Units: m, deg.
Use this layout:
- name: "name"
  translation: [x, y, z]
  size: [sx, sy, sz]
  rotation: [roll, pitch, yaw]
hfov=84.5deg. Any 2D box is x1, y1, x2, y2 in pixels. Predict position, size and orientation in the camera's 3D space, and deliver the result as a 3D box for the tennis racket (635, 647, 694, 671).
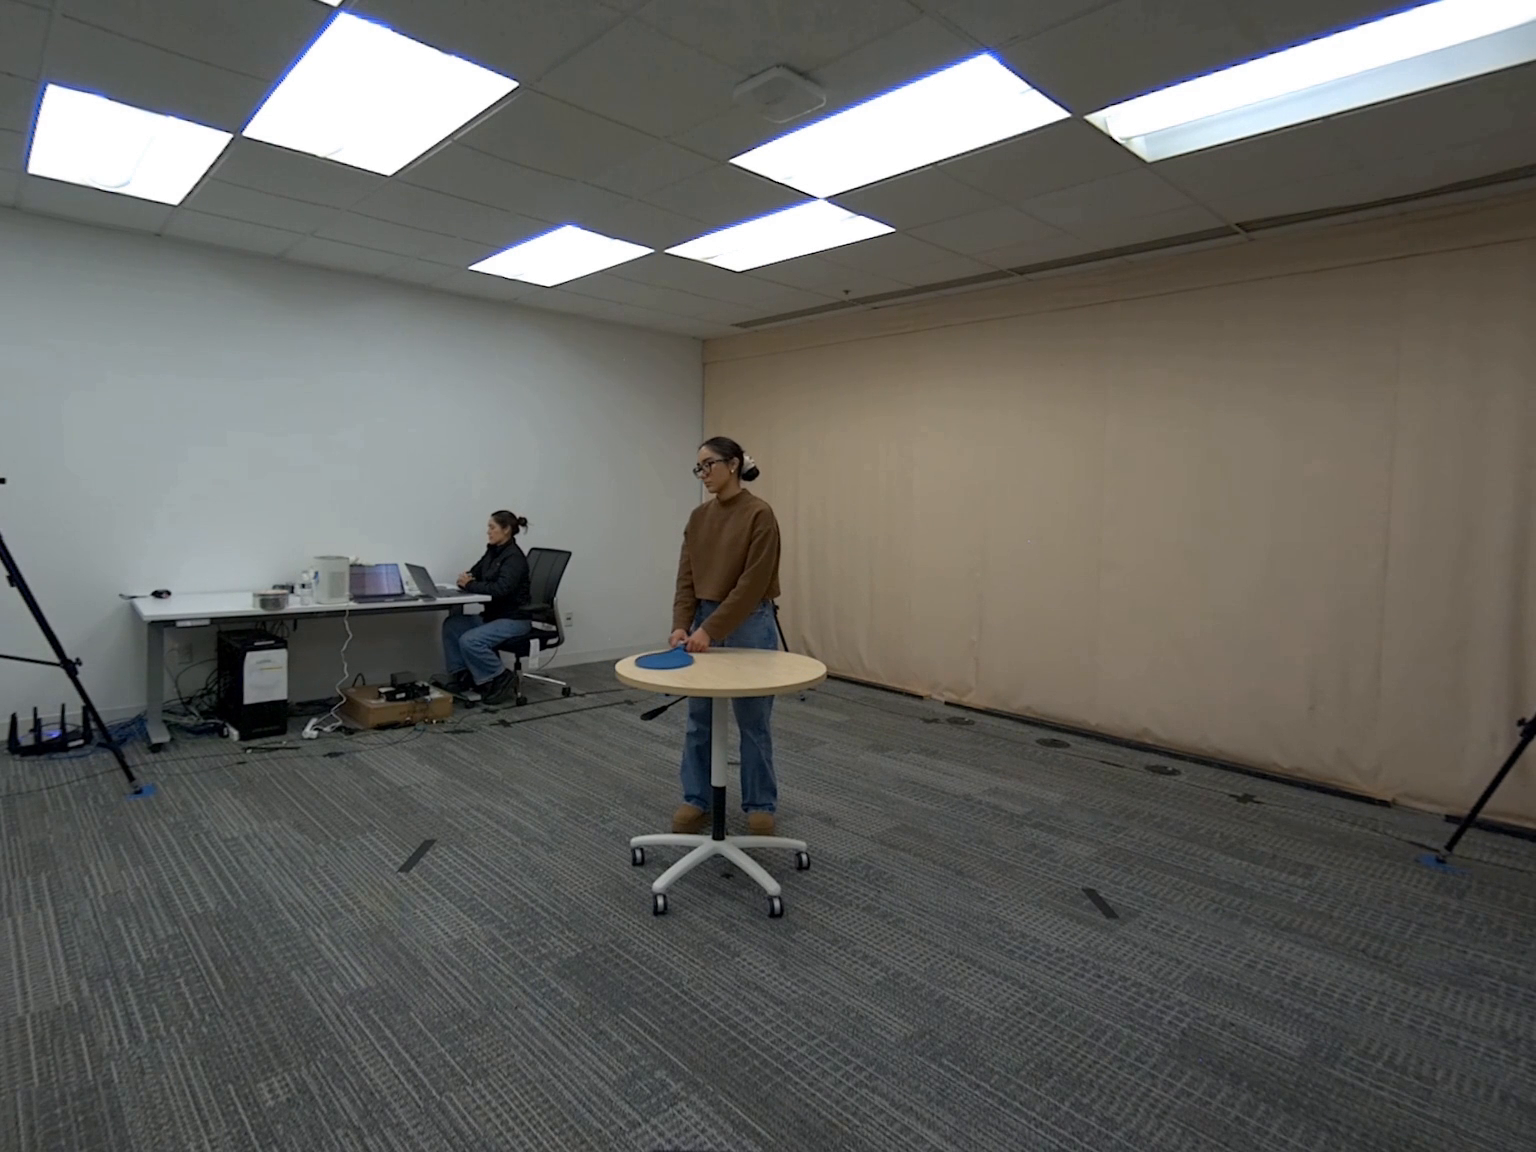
- name: "tennis racket"
  translation: [-0.404, 0.307, 3.187]
  size: [0.216, 0.031, 0.431]
  rotation: [3, 8, 11]
